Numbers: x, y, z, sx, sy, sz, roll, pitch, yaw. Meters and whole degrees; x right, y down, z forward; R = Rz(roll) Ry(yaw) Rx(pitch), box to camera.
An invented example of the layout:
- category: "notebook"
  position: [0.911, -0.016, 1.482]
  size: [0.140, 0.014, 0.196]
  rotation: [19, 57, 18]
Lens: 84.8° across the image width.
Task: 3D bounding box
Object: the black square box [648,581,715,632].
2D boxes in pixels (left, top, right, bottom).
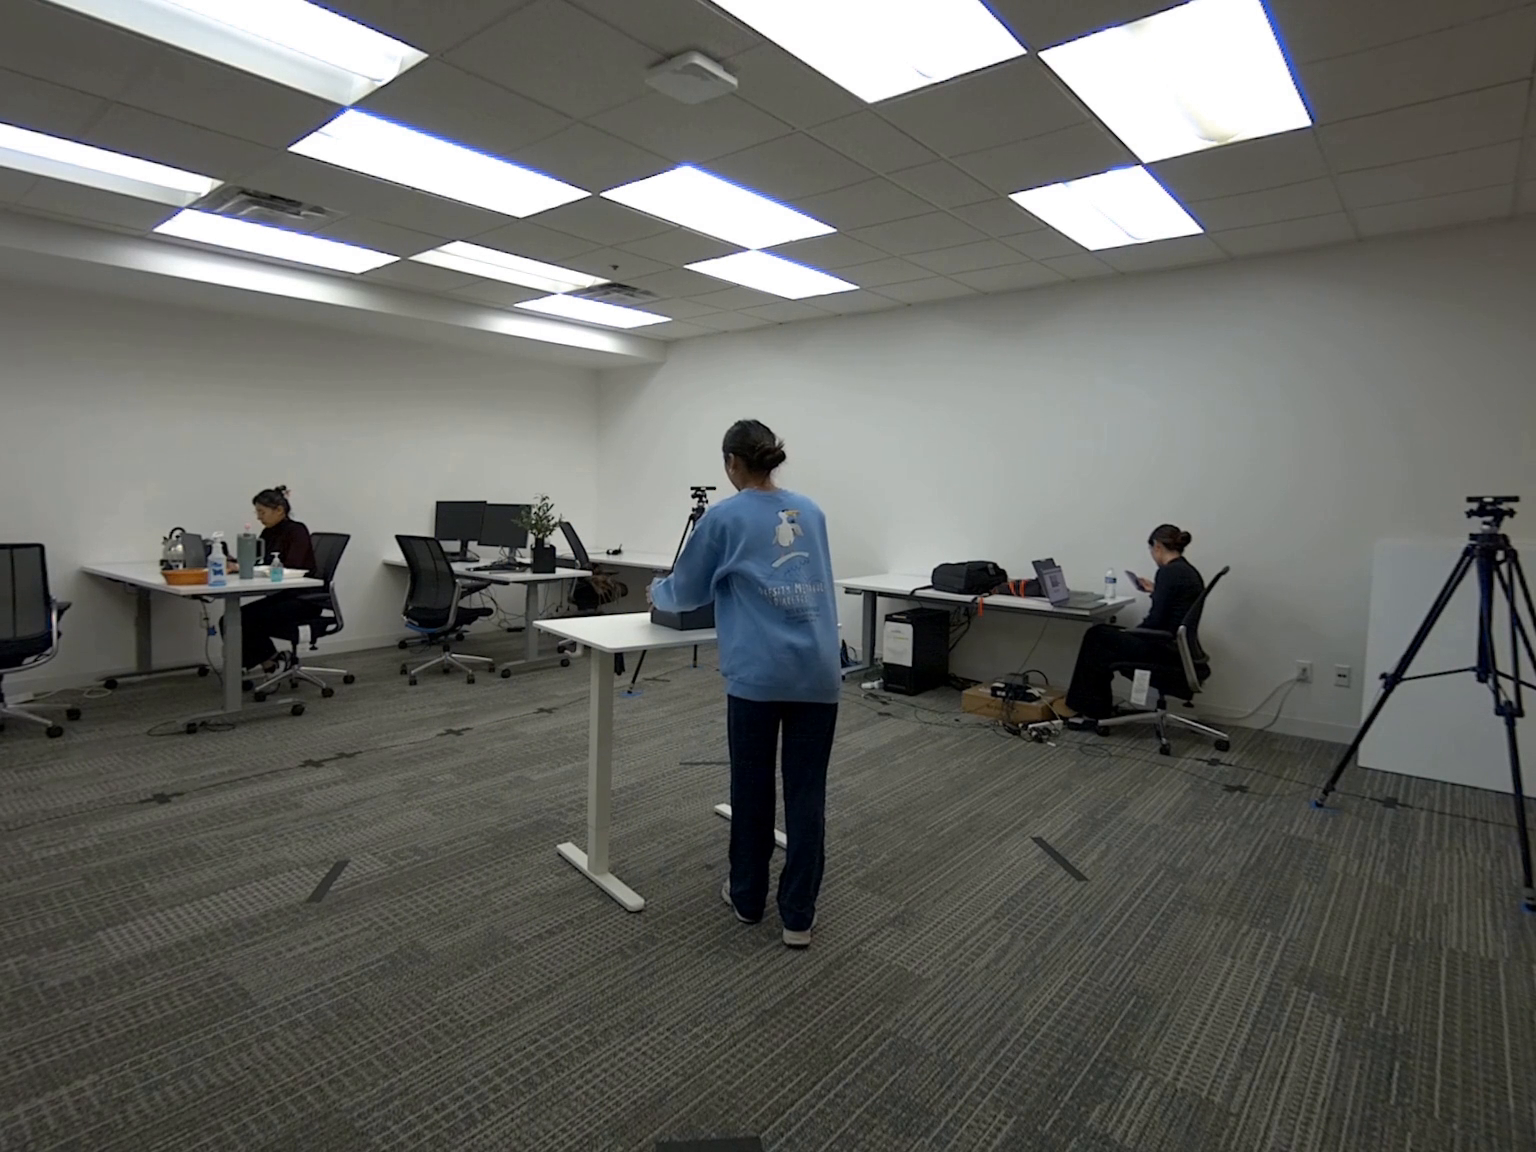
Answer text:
- category: "black square box"
  position: [-0.293, 0.102, 3.140]
  size: [0.221, 0.155, 0.224]
  rotation: [-2, 6, -36]
